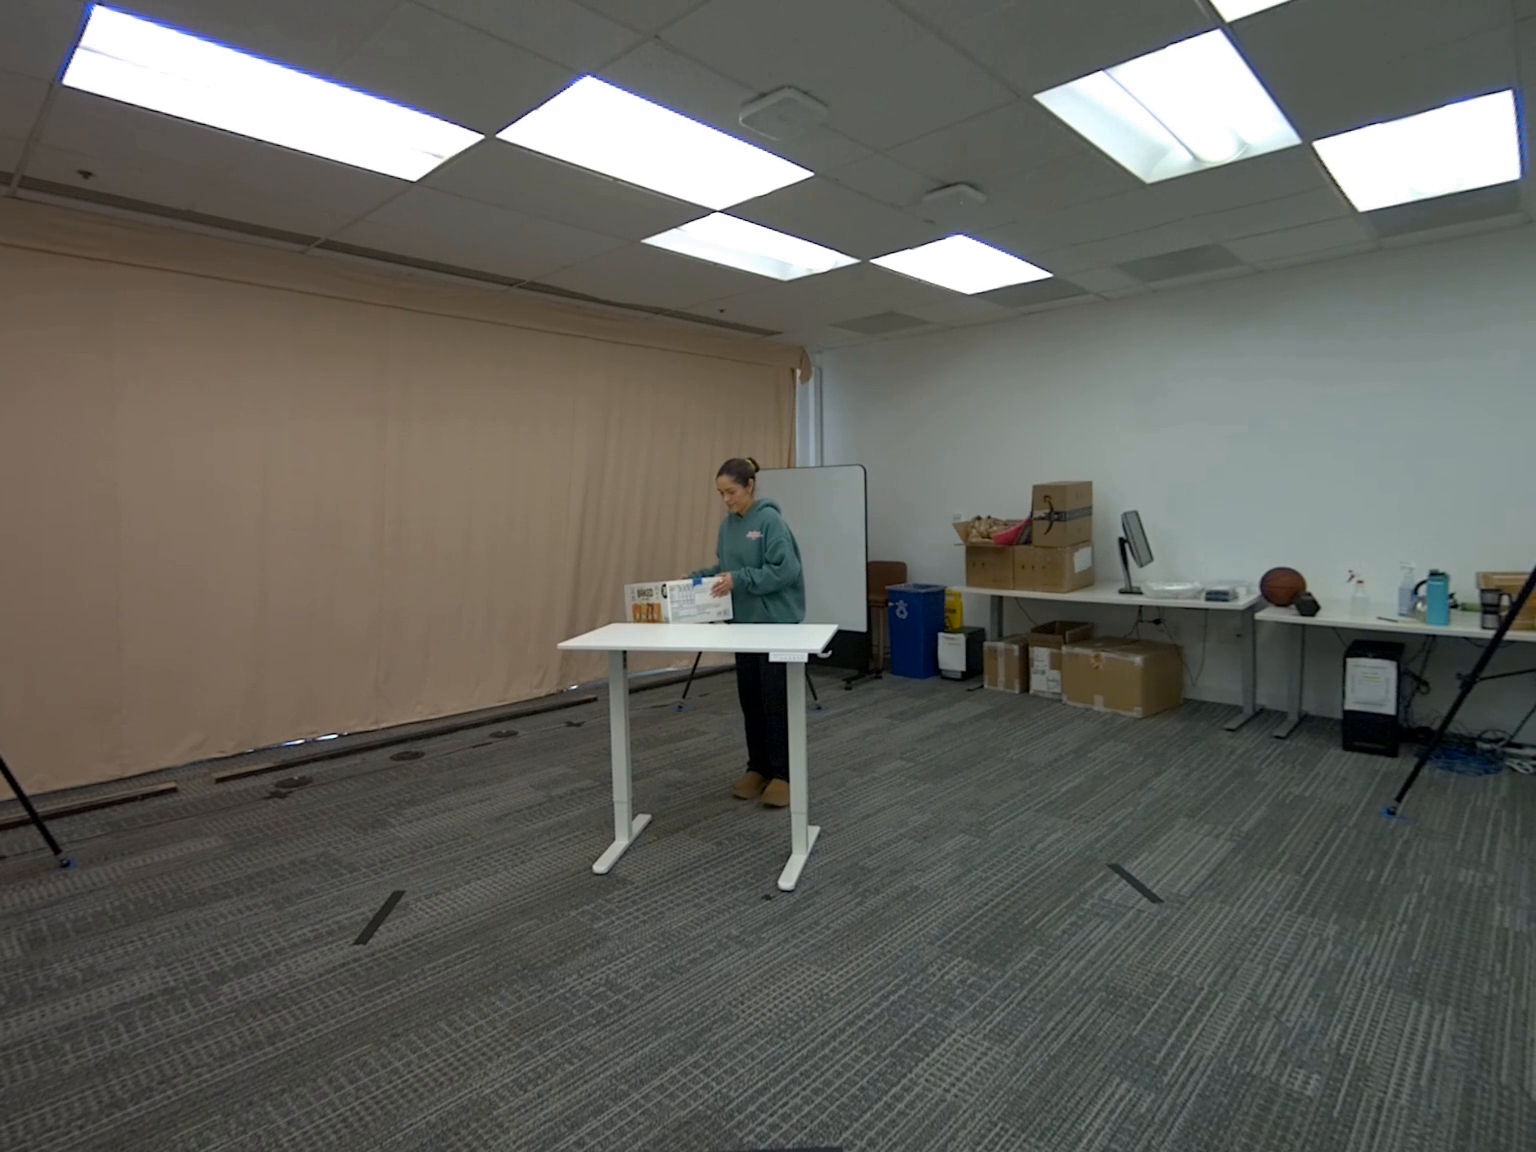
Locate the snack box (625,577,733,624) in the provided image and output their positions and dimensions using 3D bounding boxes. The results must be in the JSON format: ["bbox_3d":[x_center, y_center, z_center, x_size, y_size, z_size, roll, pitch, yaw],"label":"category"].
[{"bbox_3d":[-0.422,0.128,3.977,0.331,0.205,0.417,-6,1,-36],"label":"snack box"}]
